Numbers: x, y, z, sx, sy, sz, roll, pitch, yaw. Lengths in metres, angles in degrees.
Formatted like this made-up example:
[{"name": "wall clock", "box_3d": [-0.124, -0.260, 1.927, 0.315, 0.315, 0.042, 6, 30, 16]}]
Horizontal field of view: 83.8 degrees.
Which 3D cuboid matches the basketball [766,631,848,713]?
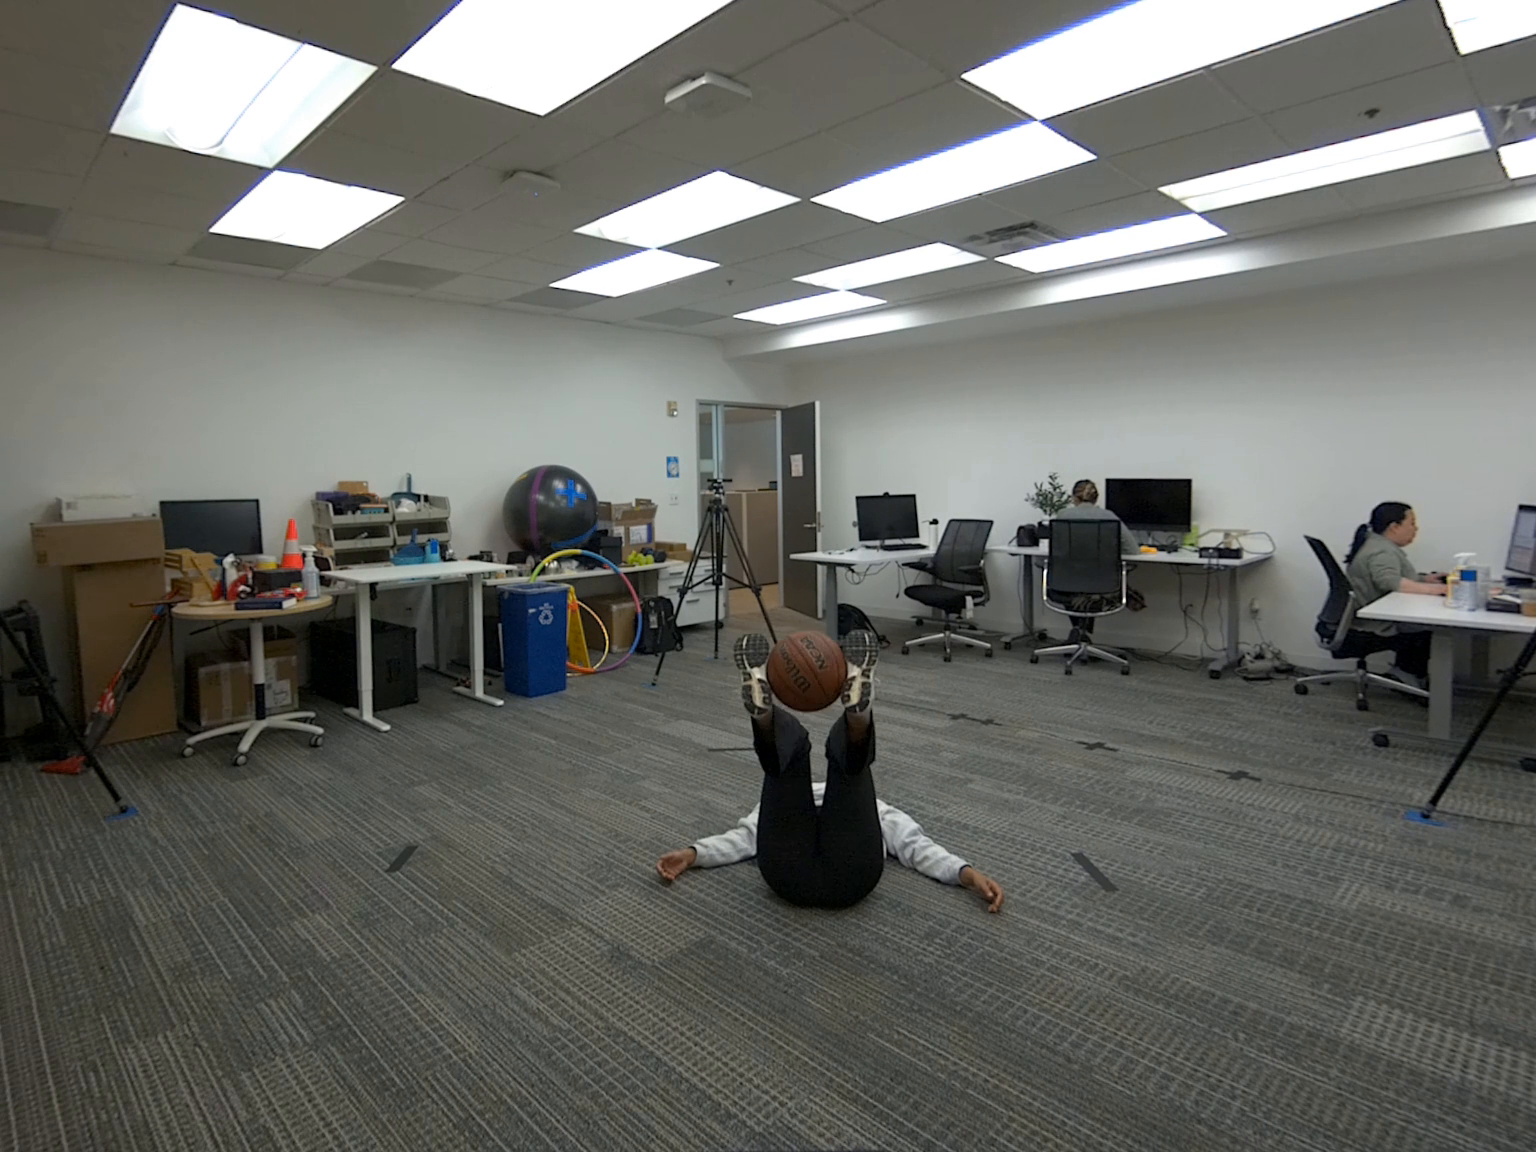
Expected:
[{"name": "basketball", "box_3d": [0.115, 0.285, 2.519, 0.236, 0.235, 0.236, -4, 2, -2]}]
